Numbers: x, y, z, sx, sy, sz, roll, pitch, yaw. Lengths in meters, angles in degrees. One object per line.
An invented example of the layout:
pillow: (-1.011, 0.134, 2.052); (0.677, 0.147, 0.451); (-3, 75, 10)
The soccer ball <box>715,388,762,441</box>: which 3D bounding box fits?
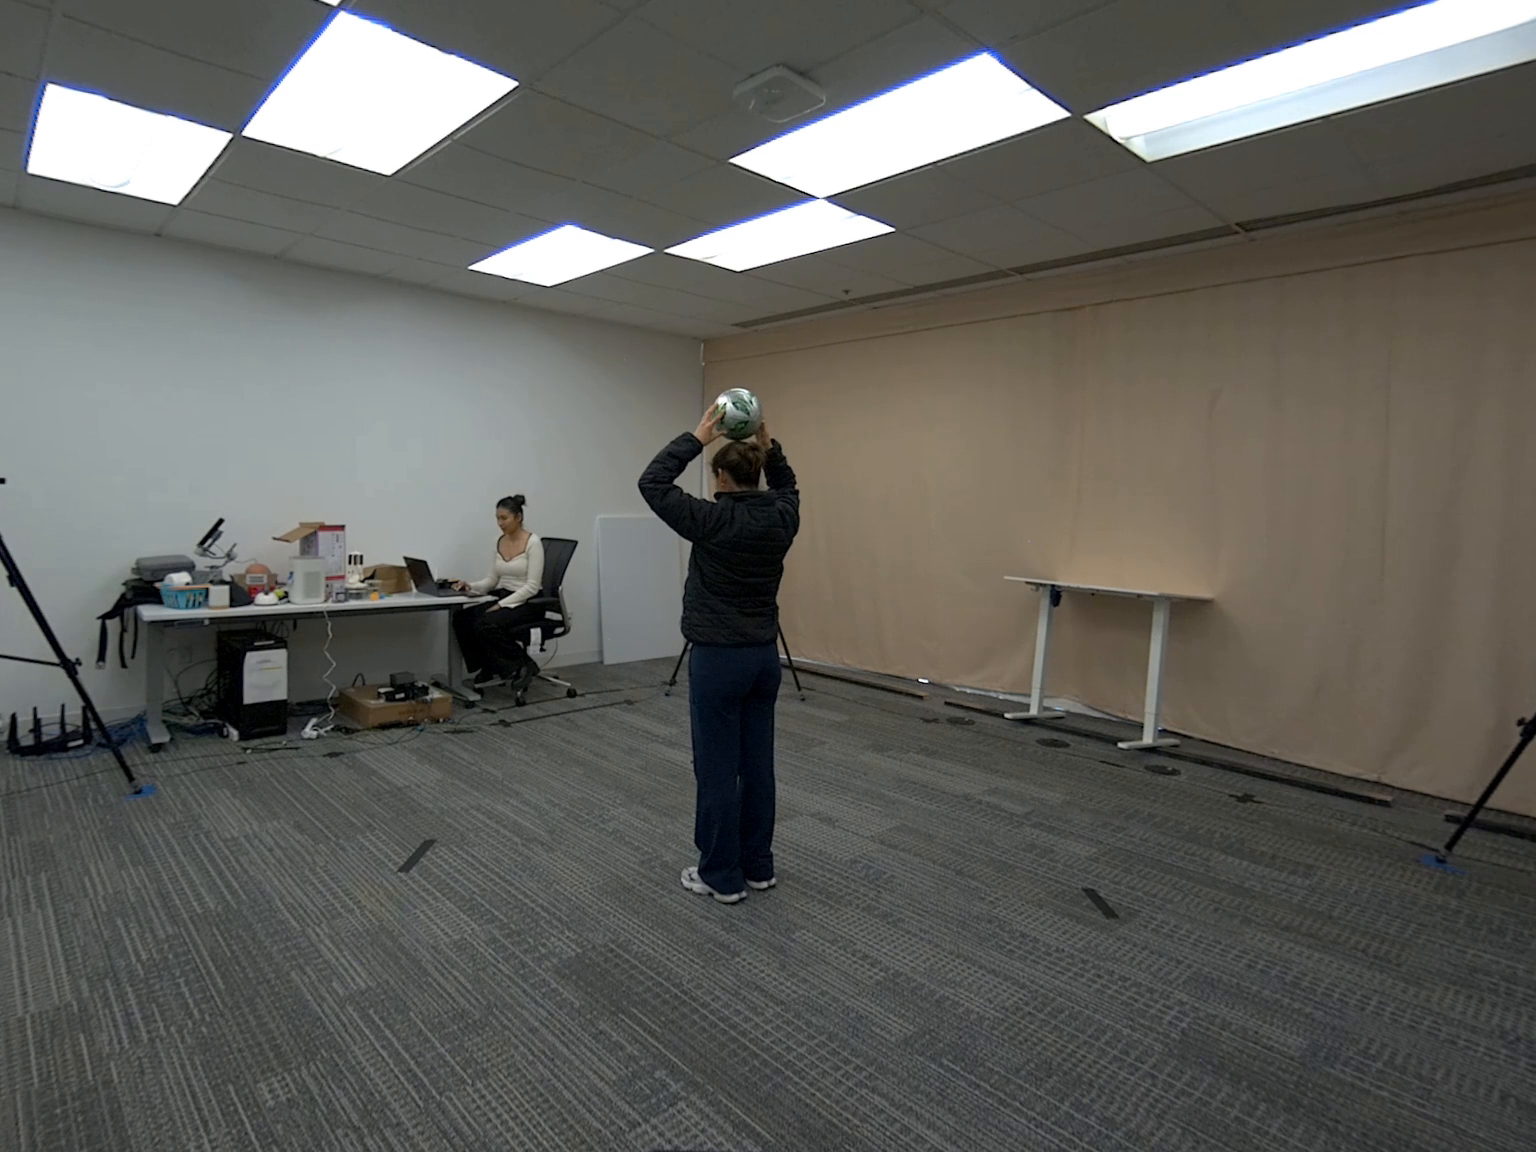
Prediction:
soccer ball: (-0.116, -0.579, 3.020); (0.187, 0.187, 0.188); (1, 4, -1)
